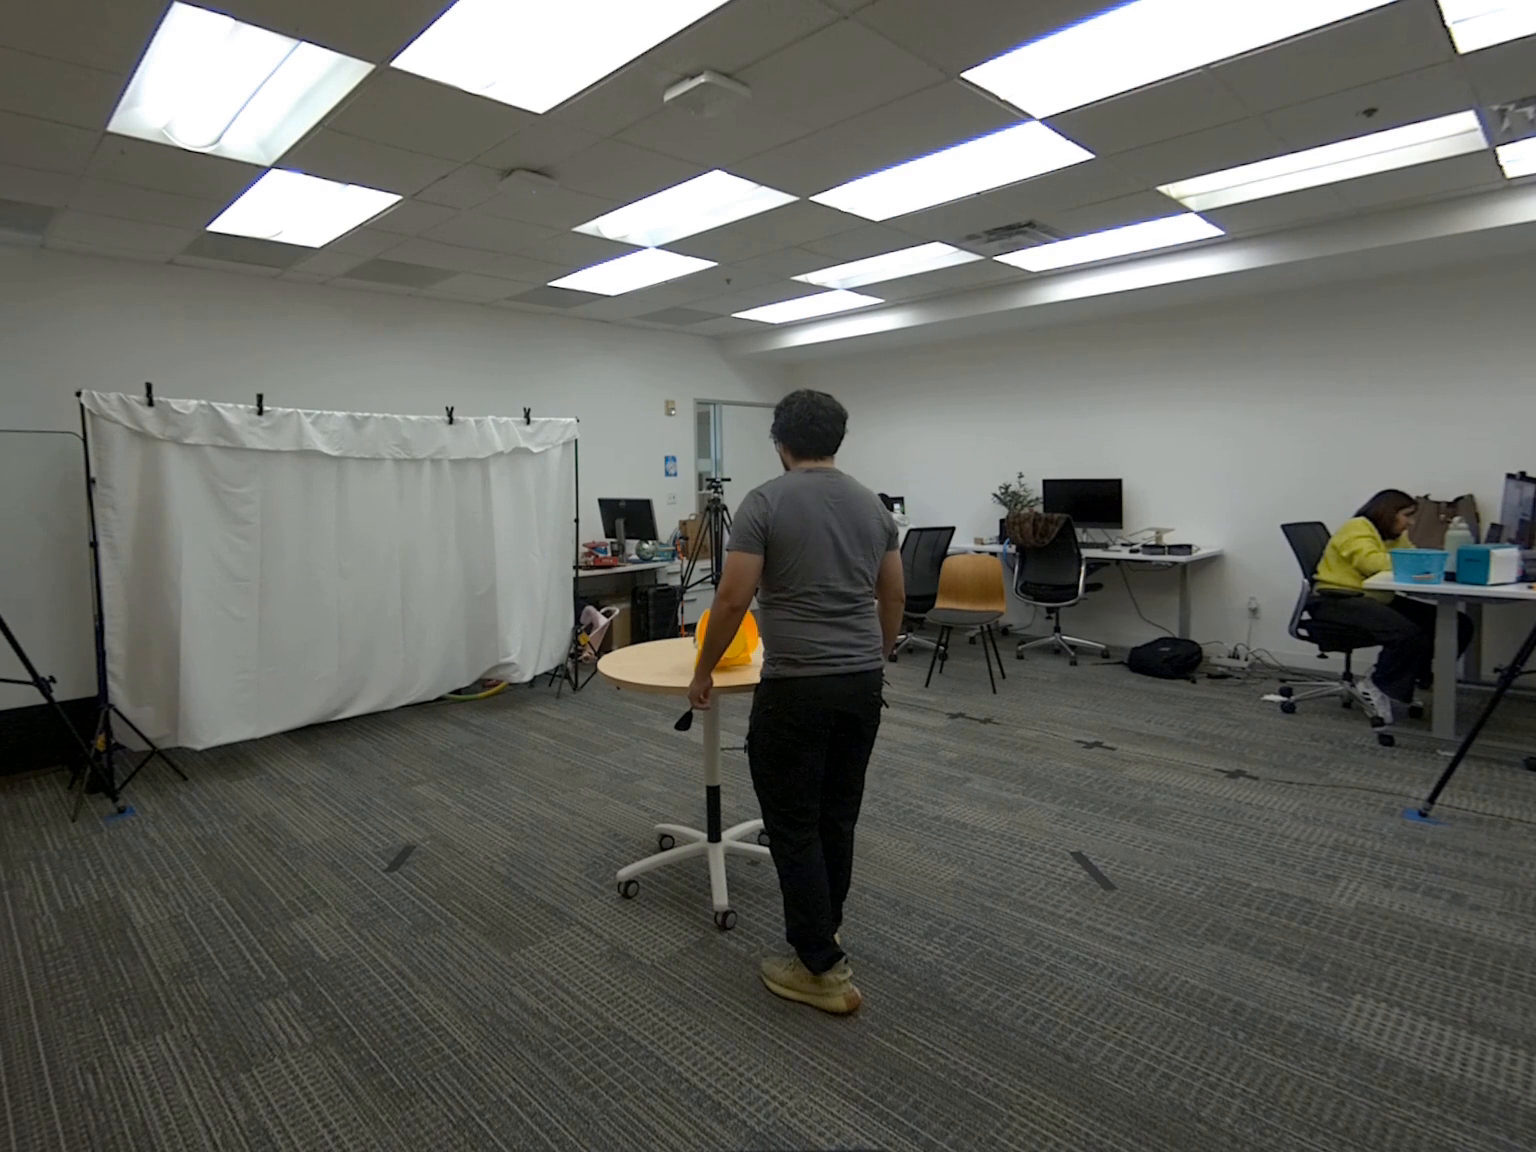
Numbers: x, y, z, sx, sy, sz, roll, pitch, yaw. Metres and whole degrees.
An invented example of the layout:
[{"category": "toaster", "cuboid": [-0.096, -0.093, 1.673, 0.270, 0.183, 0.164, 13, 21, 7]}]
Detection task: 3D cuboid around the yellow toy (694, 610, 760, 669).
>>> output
[{"category": "yellow toy", "cuboid": [-0.168, 0.210, 2.828, 0.201, 0.194, 0.233, -4, -6, -23]}]
